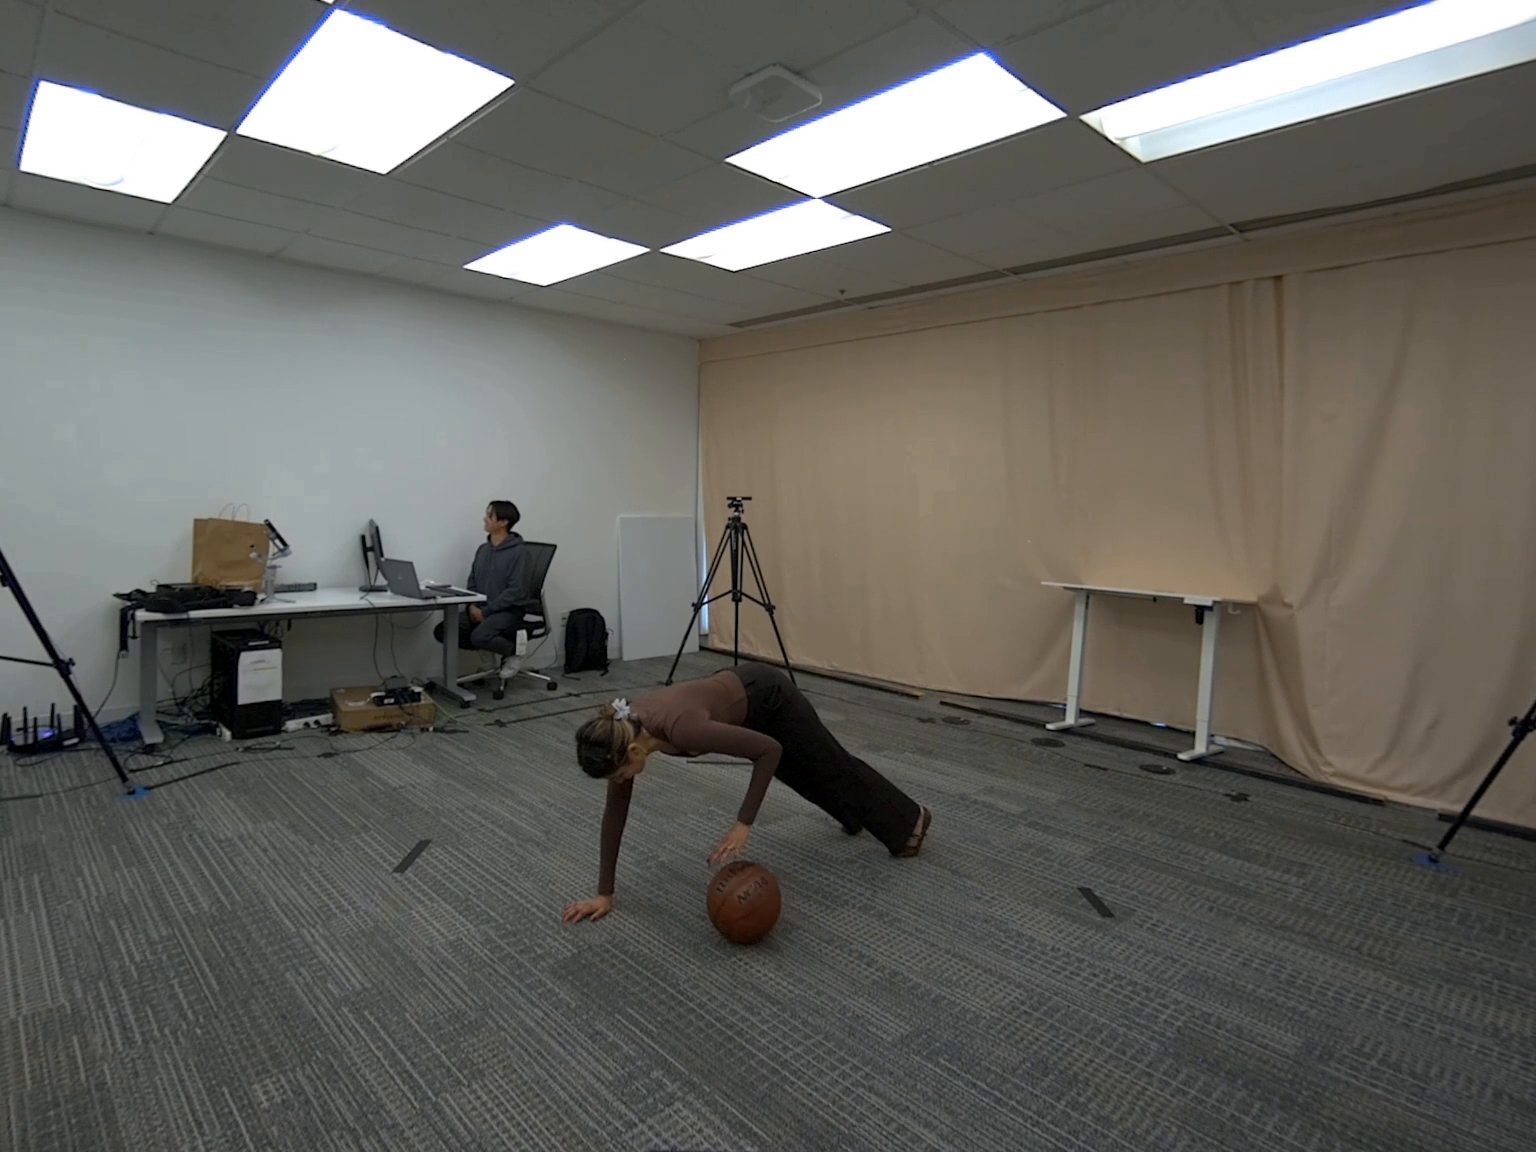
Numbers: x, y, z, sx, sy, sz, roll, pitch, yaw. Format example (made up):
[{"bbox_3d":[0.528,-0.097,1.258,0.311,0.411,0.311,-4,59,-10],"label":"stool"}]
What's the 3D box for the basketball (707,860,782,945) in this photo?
[{"bbox_3d":[-0.080,1.028,2.651,0.236,0.235,0.237,1,4,-1],"label":"basketball"}]
